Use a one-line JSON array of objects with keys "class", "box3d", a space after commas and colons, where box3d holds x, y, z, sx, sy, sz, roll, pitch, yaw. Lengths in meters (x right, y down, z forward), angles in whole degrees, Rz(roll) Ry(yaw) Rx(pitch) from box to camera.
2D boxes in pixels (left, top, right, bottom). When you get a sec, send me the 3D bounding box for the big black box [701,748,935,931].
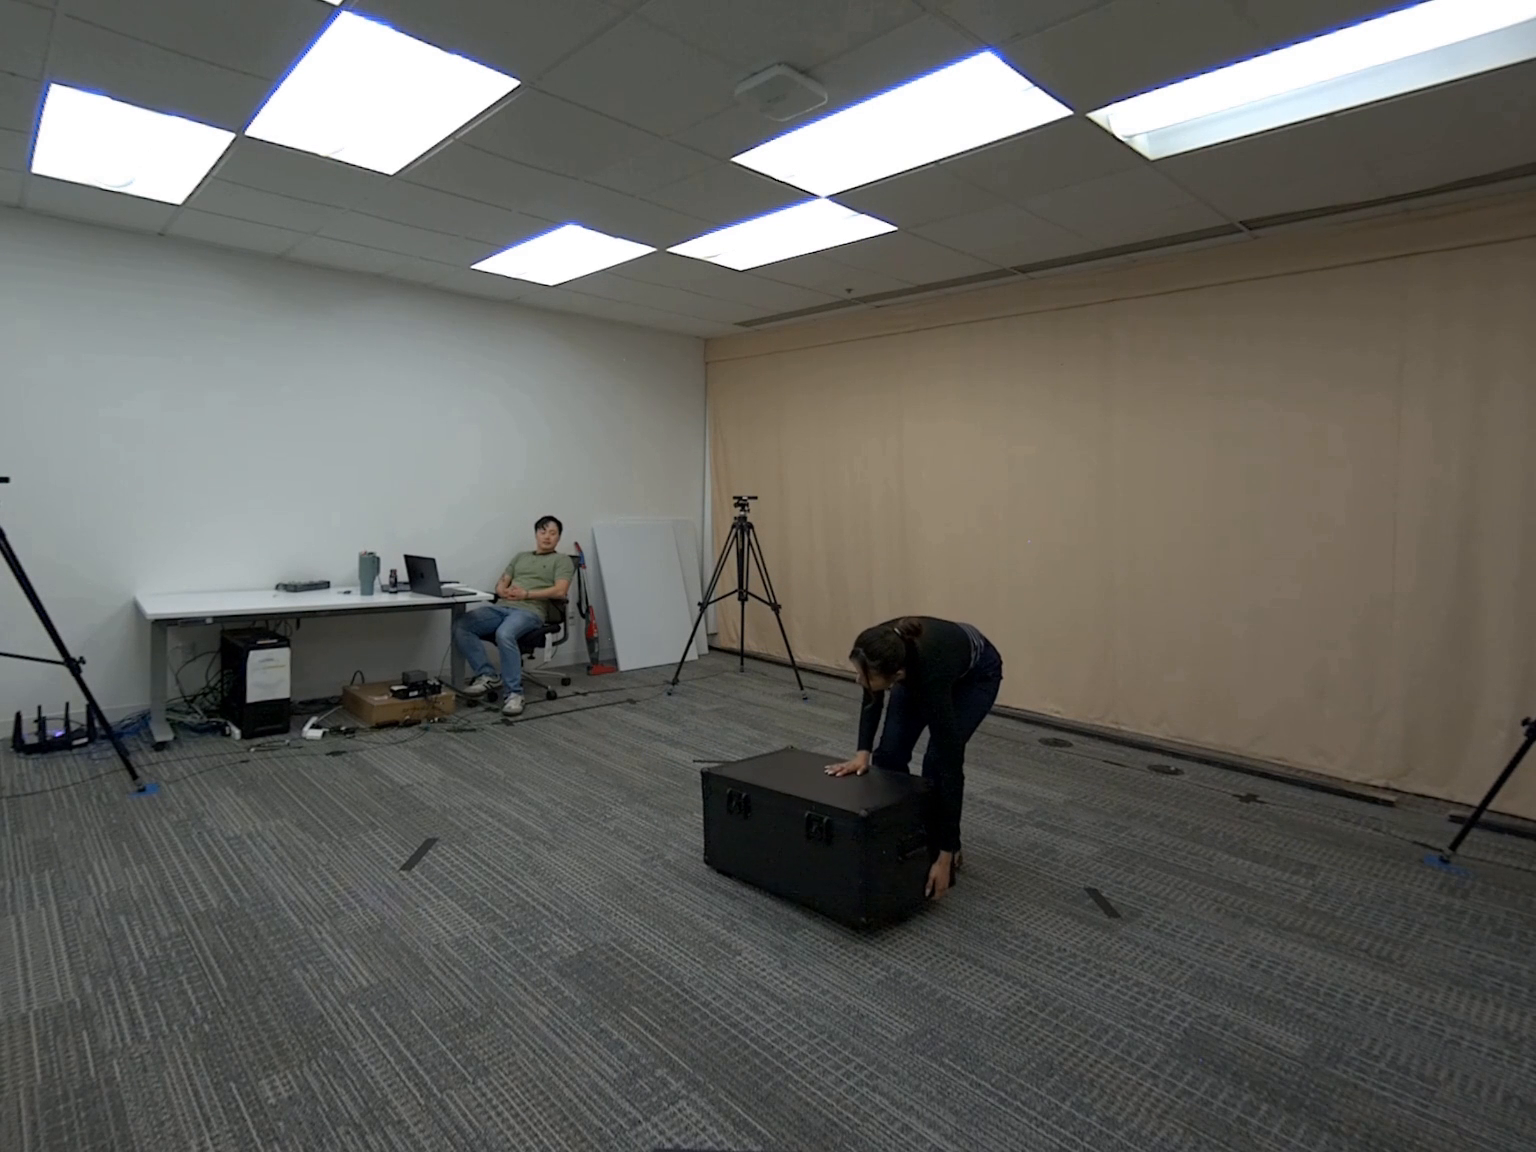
[{"class": "big black box", "box3d": [0.208, 0.908, 2.994, 0.509, 0.396, 0.882, -2, 2, -43]}]
